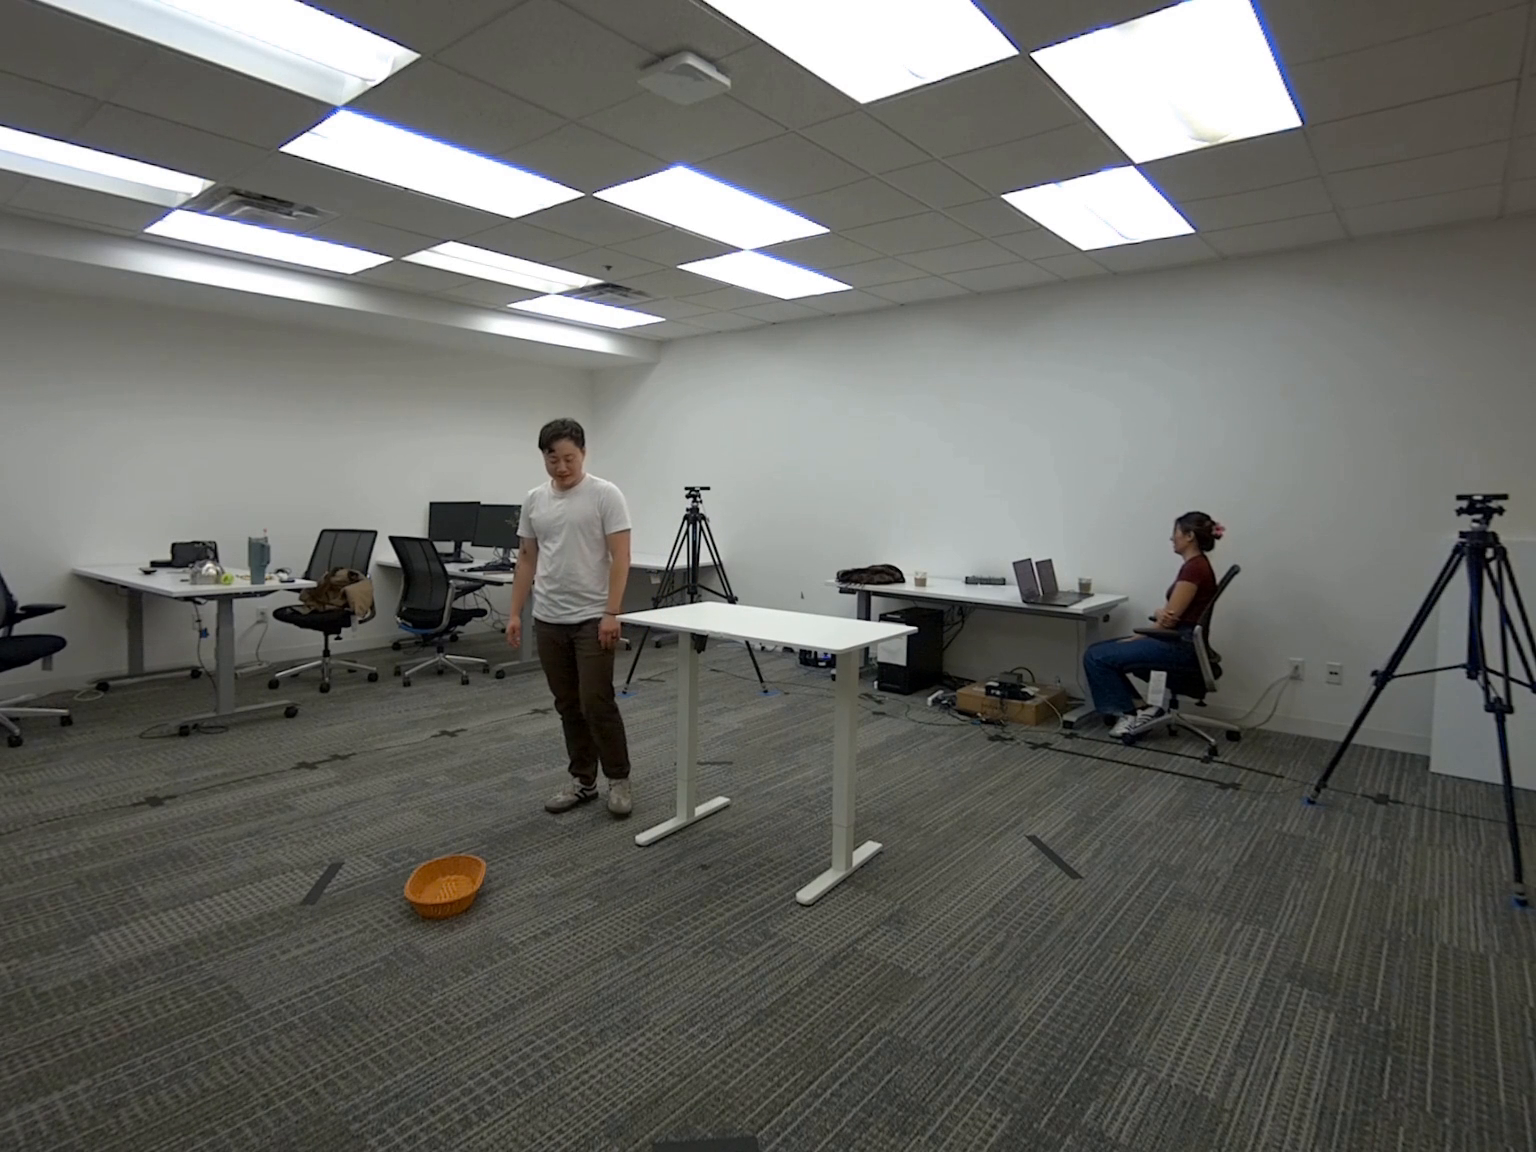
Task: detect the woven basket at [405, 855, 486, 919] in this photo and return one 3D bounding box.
[{"bbox_3d":[-1.093,1.041,2.857,0.251,0.073,0.354,-1,6,-6],"label":"woven basket"}]
